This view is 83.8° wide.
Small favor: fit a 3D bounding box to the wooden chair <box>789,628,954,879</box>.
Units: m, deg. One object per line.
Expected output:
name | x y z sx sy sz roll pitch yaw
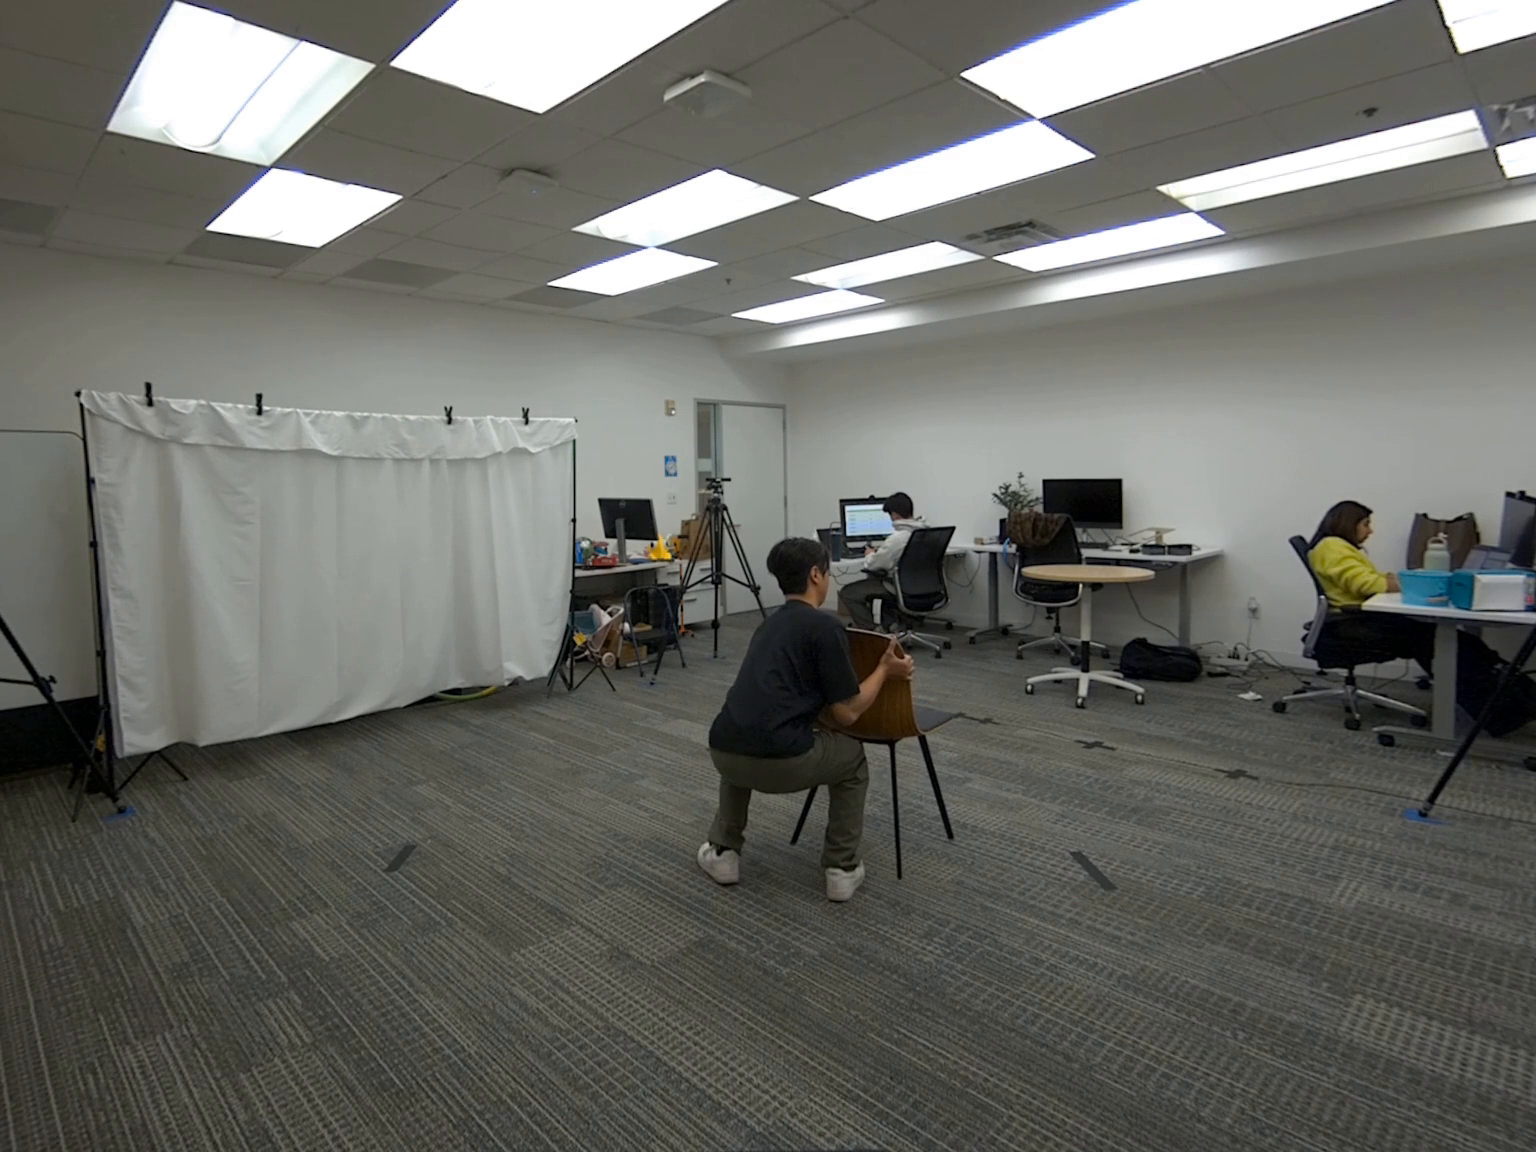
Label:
wooden chair | 0.406 0.571 3.202 0.492 0.872 0.511 3 9 36
